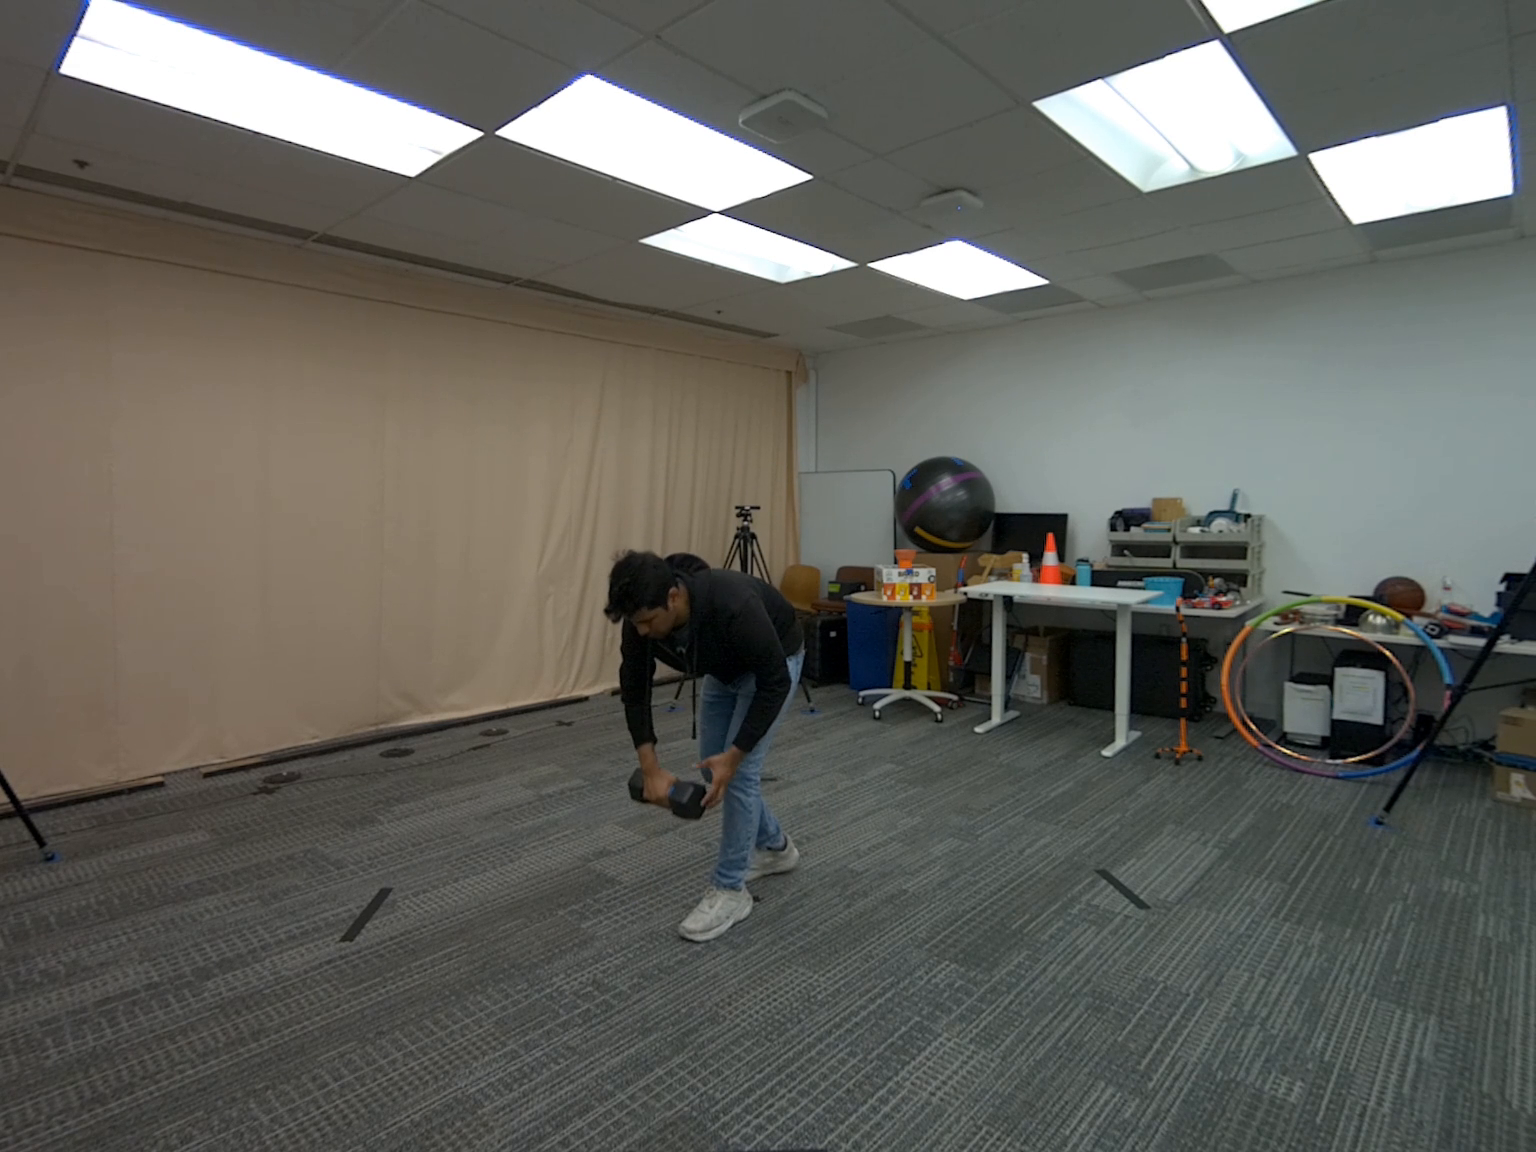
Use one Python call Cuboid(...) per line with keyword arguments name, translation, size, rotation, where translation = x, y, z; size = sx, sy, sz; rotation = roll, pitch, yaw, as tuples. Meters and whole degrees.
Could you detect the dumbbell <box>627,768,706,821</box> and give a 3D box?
Cuboid(name="dumbbell", translation=(-0.323, 0.701, 2.718), size=(0.303, 0.109, 0.118), rotation=(3, -8, 45))
